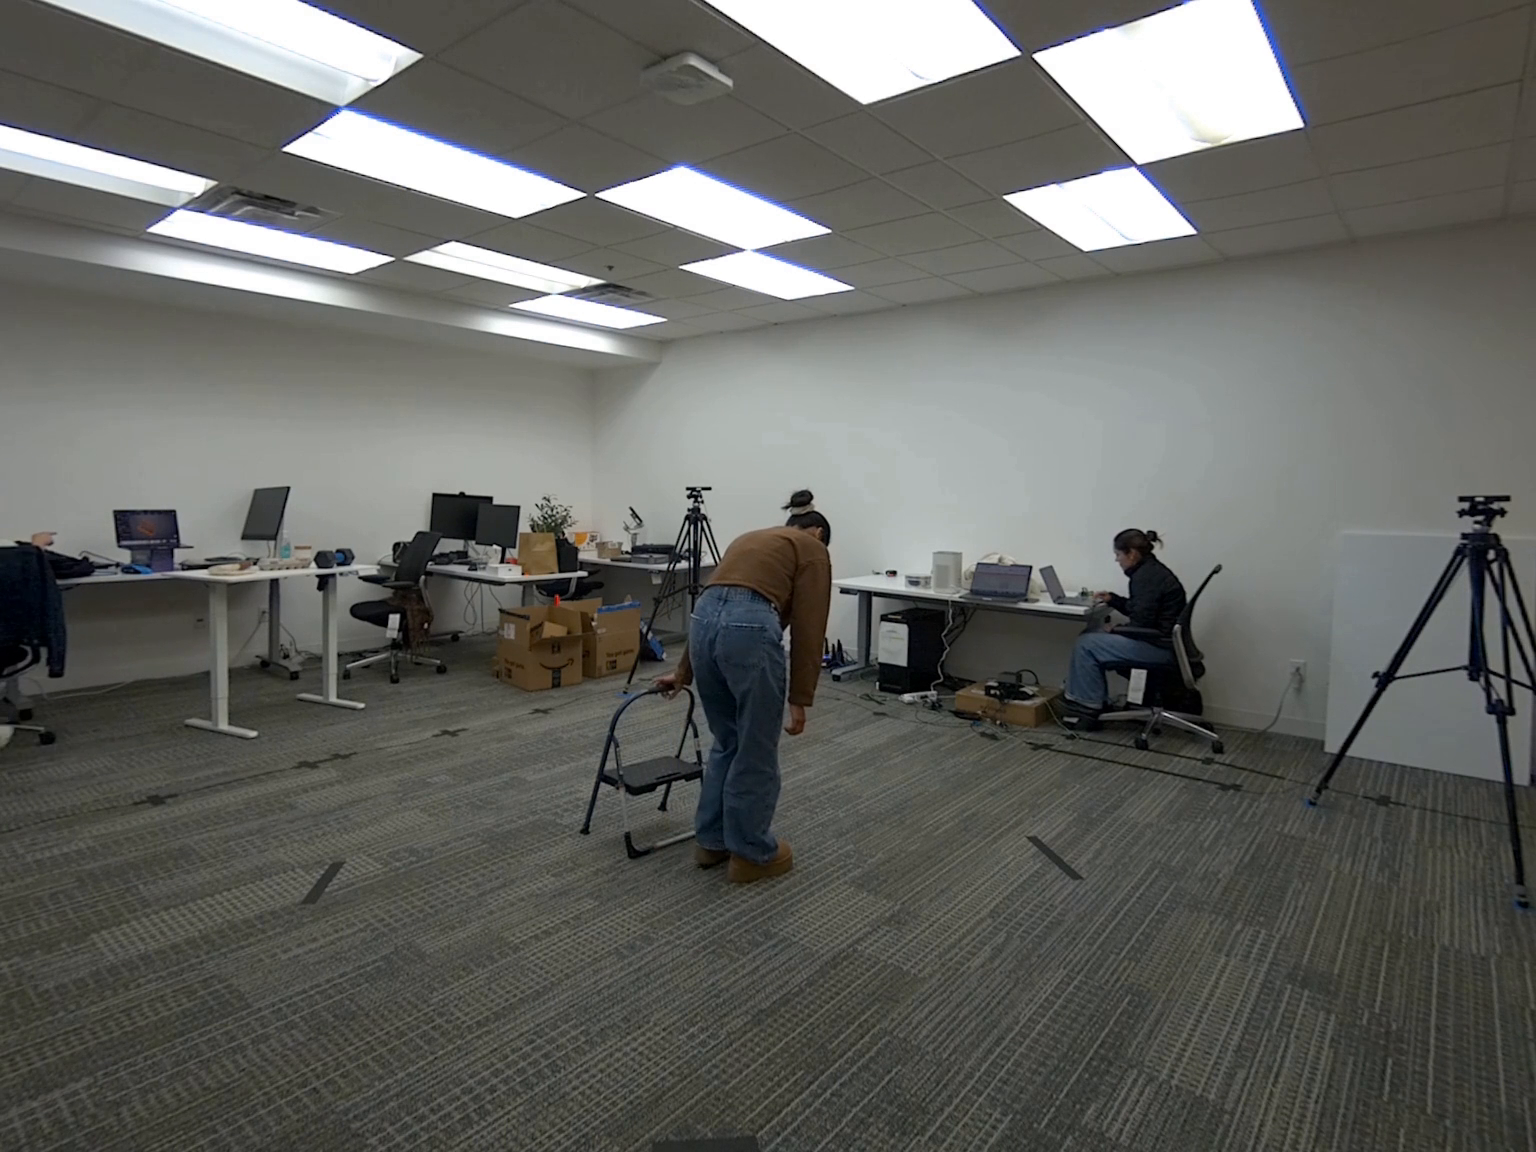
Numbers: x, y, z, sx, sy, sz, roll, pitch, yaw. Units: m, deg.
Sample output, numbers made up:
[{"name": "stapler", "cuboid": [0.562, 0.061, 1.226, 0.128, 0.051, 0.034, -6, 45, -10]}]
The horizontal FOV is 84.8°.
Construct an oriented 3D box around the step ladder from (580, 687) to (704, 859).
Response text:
[{"name": "step ladder", "cuboid": [-0.494, 0.727, 3.413, 0.417, 0.604, 0.361, -3, 6, -44]}]
